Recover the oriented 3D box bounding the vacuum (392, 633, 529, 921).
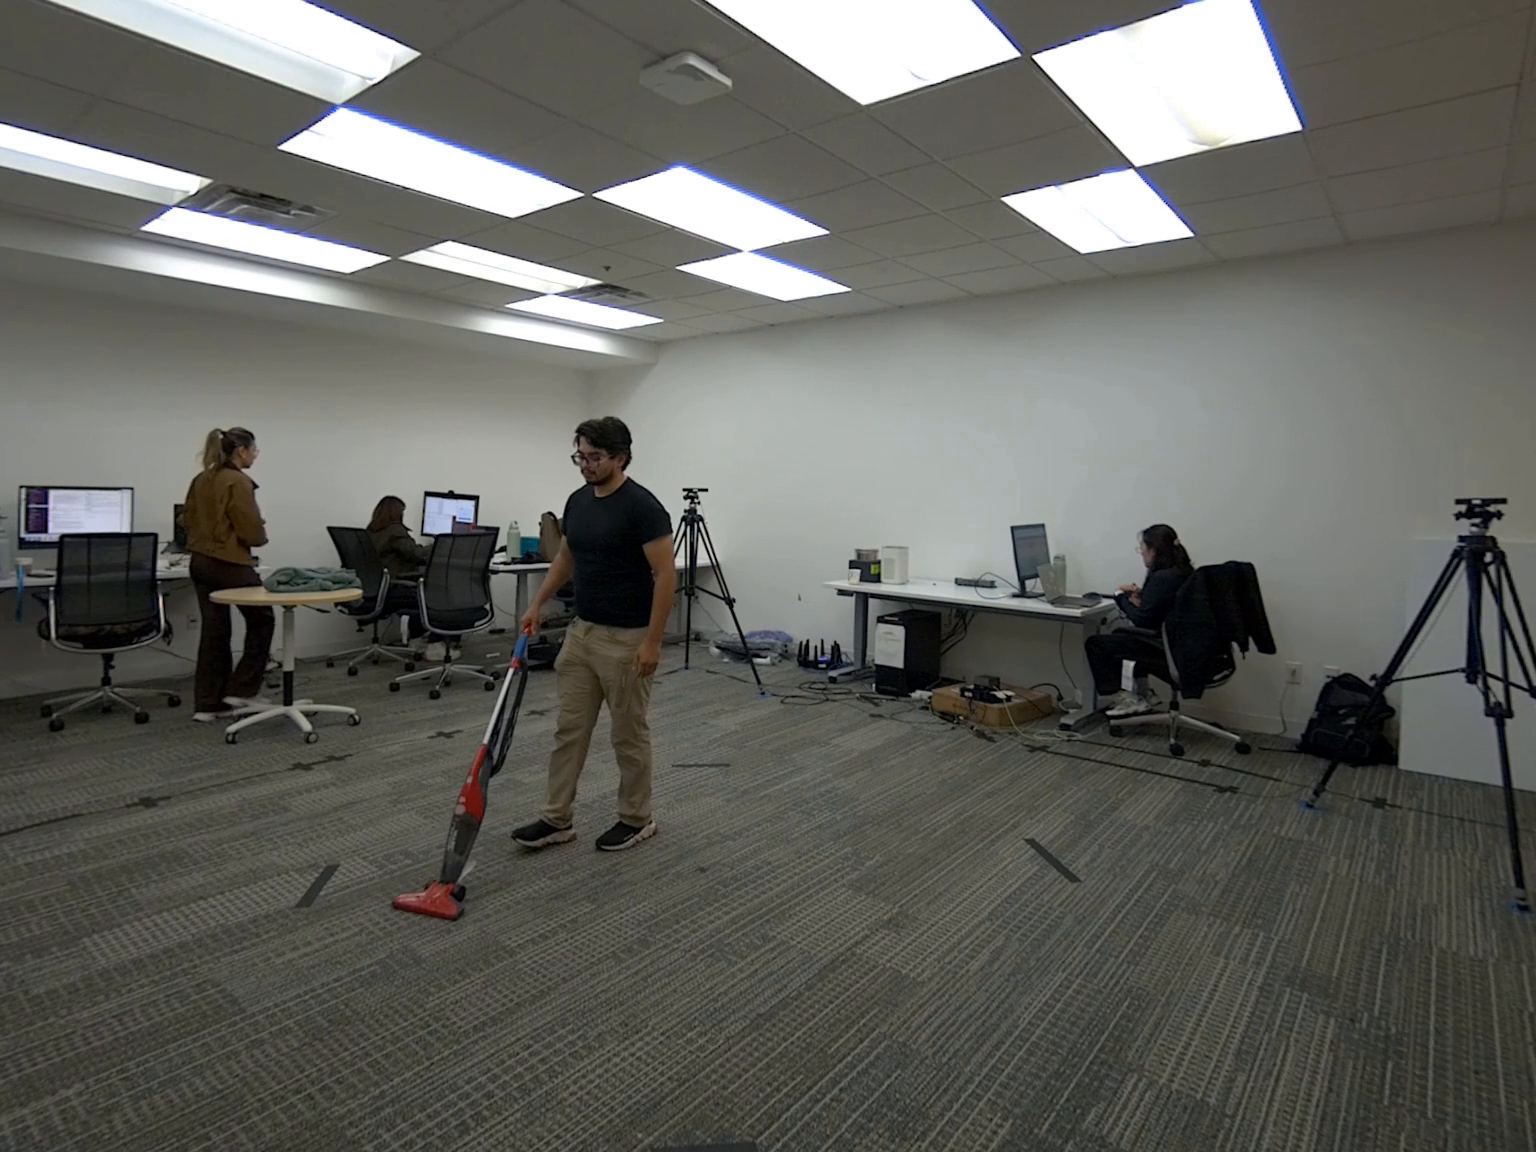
[{"bbox_3d":[-1.015,0.632,3.068,0.258,1.068,0.138,-1,-31,21],"label":"vacuum"}]
